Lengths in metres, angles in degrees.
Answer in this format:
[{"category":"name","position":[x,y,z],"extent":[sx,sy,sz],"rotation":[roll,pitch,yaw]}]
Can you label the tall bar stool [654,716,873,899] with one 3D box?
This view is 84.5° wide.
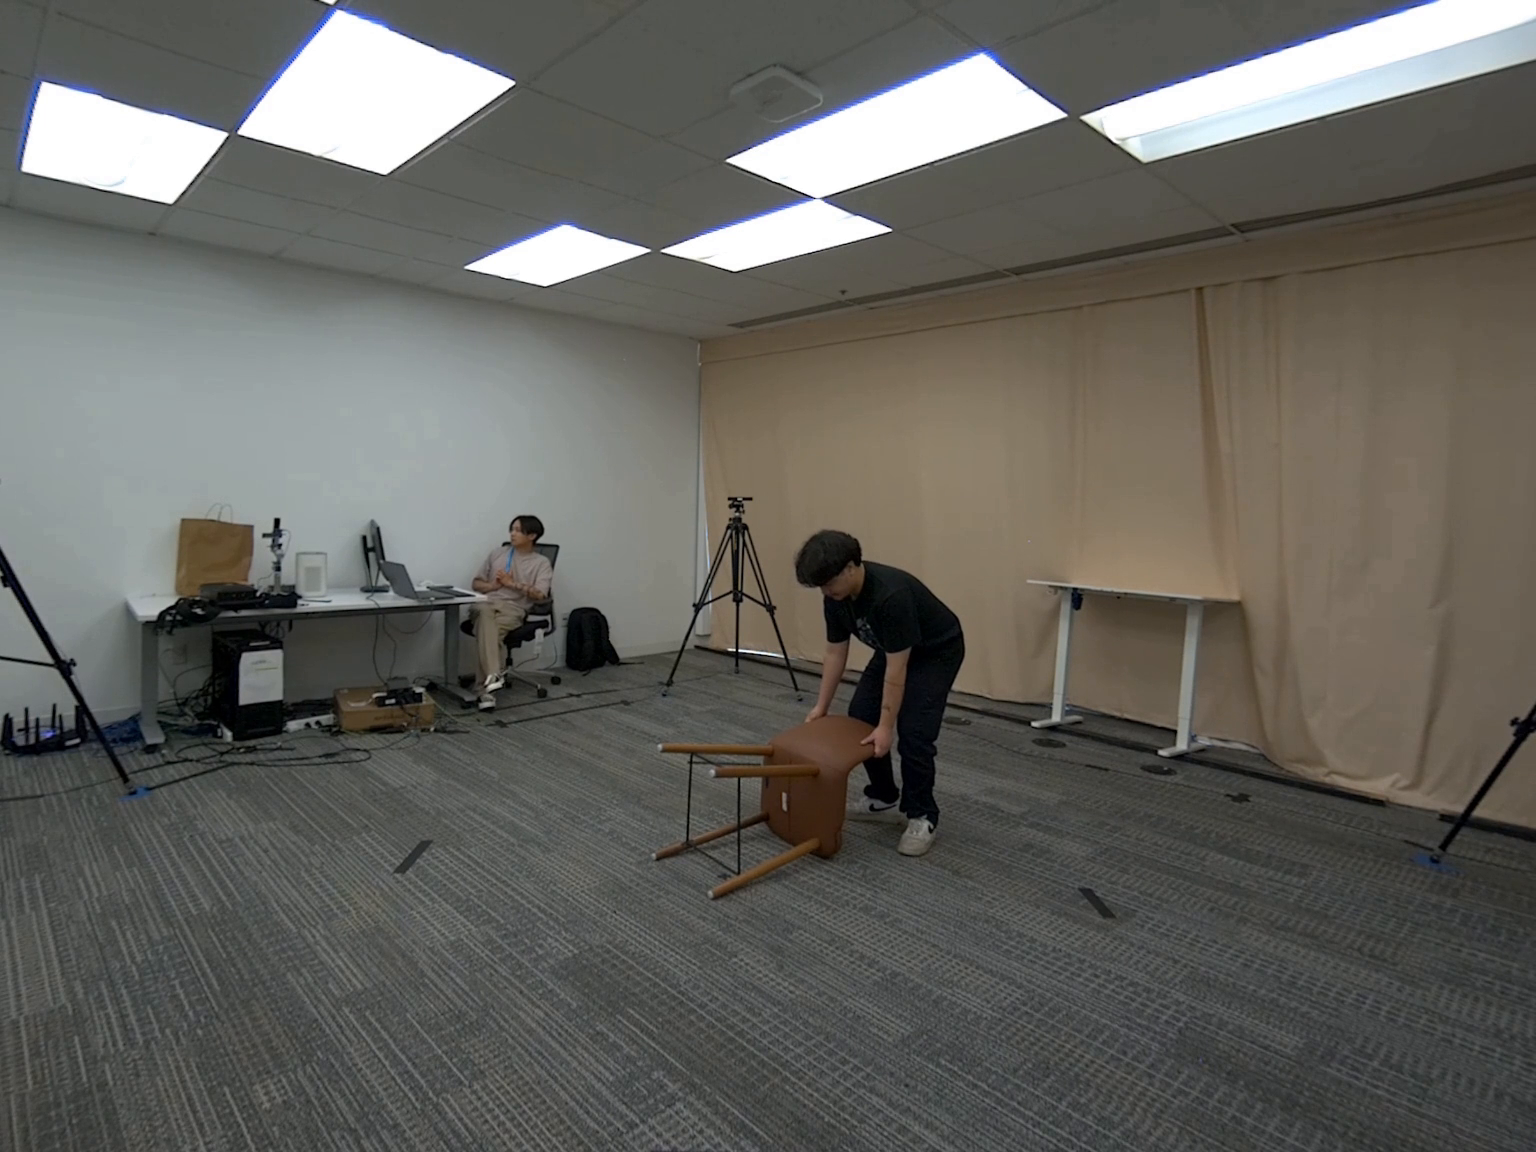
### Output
[{"category":"tall bar stool","position":[0.022,0.864,3.320],"extent":[0.870,0.466,0.468],"rotation":[-4,6,-38]}]
